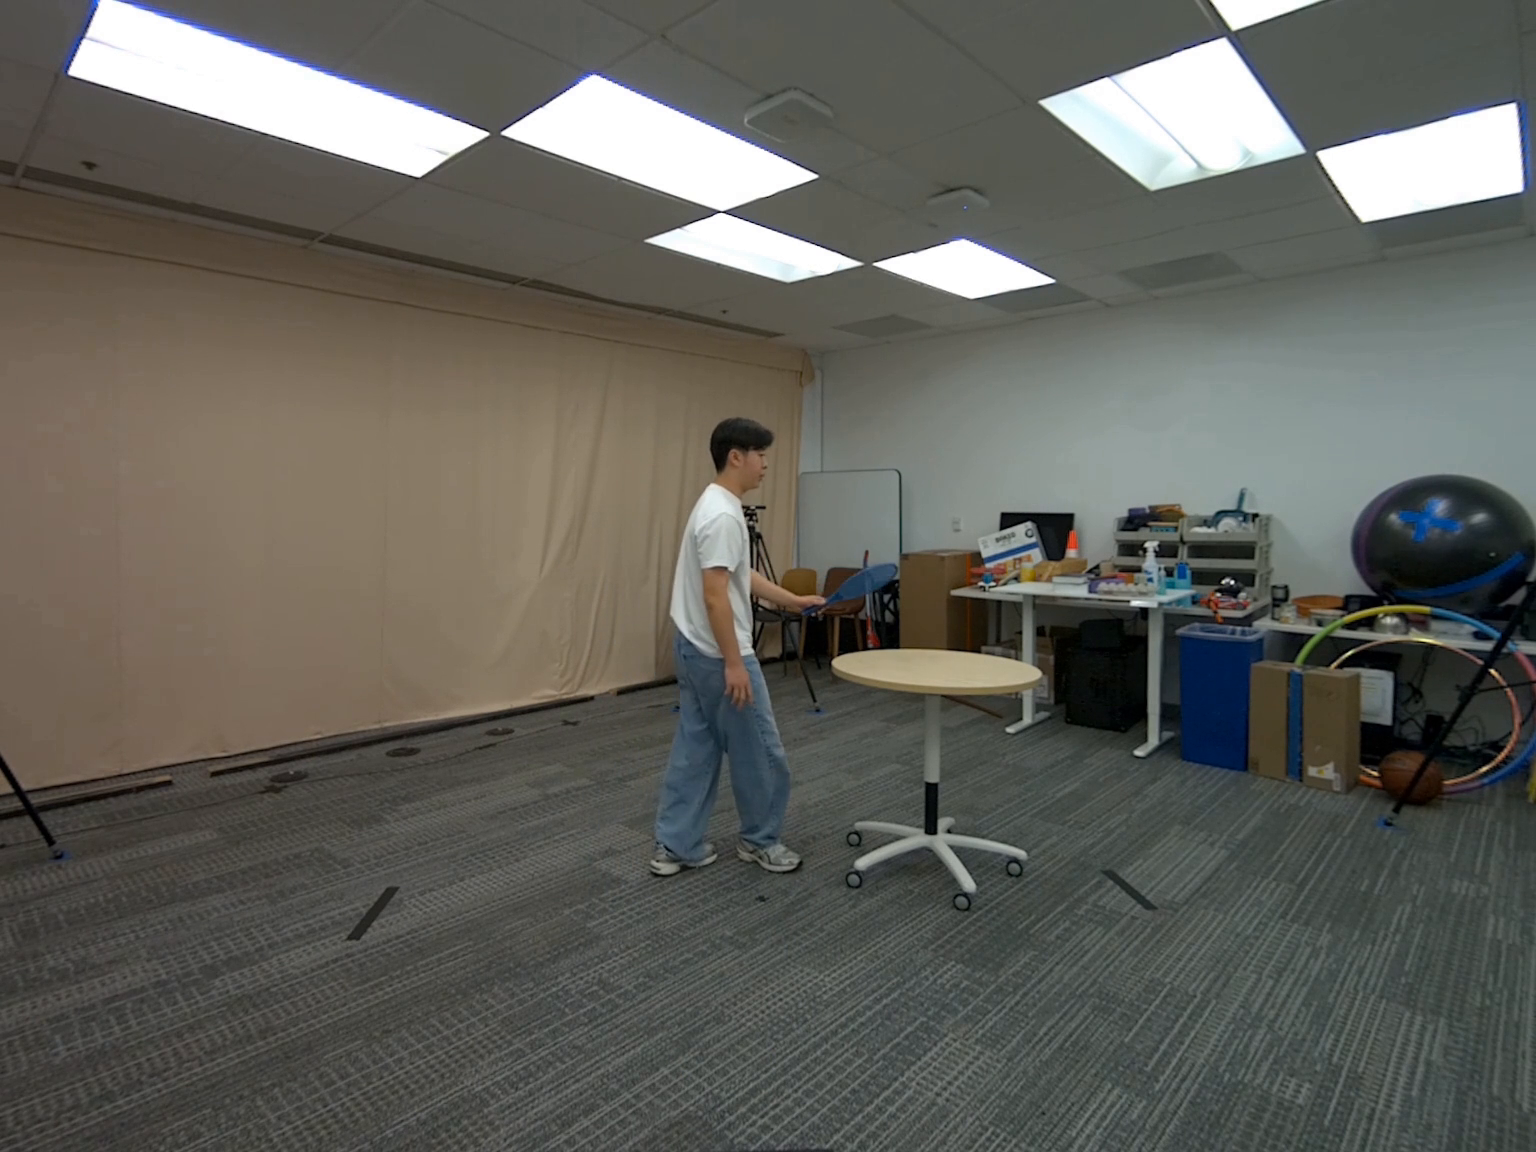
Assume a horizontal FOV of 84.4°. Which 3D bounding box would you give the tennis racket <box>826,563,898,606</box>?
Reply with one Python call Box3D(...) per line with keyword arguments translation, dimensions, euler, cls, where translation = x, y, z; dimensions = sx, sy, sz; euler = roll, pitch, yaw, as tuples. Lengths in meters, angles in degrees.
Box3D(translation=(0.331, 0.068, 3.388), dimensions=(0.436, 0.032, 0.207), euler=(-26, -31, 9), cls="tennis racket")
